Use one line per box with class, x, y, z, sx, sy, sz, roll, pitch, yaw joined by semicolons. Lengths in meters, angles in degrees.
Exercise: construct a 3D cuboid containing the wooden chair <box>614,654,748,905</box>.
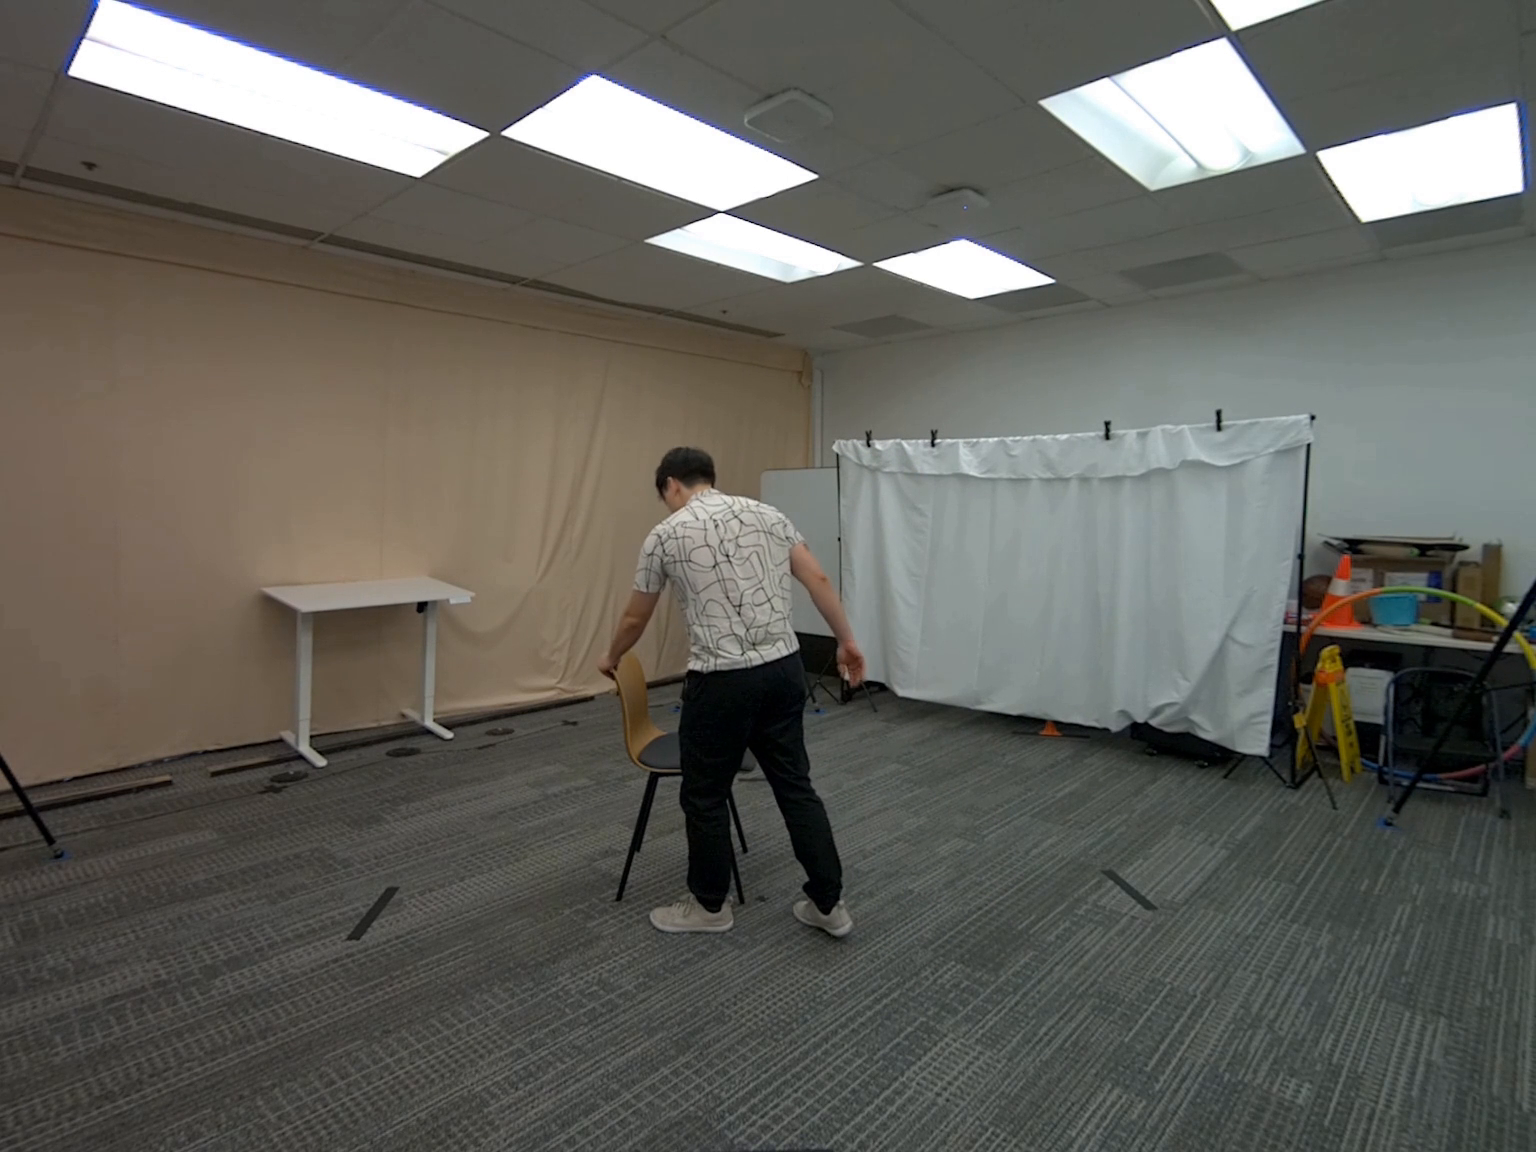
wooden chair;-0.302;0.700;3.149;0.525;0.876;0.477;-5;3;3
